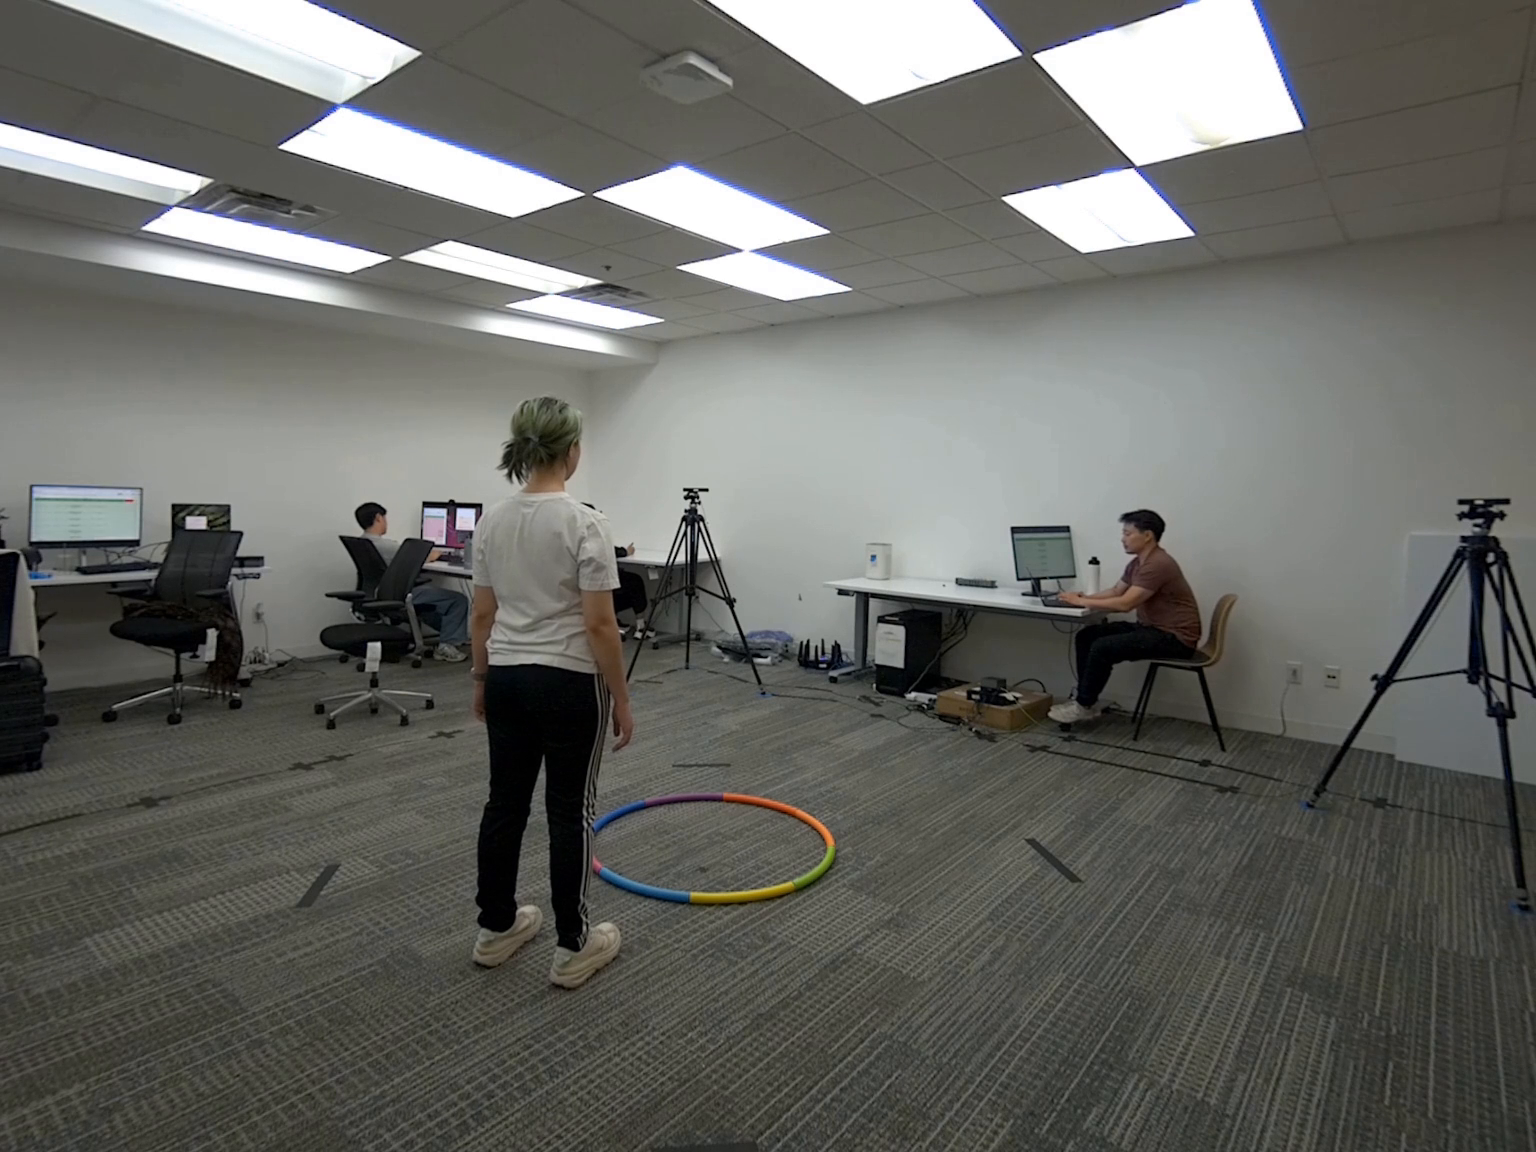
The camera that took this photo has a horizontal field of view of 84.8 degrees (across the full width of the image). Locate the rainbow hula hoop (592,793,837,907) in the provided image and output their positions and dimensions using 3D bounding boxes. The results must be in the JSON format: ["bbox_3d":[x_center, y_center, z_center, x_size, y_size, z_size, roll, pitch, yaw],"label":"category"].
[{"bbox_3d":[-0.235,1.019,3.319,0.978,0.035,0.984,1,6,-2],"label":"rainbow hula hoop"}]
